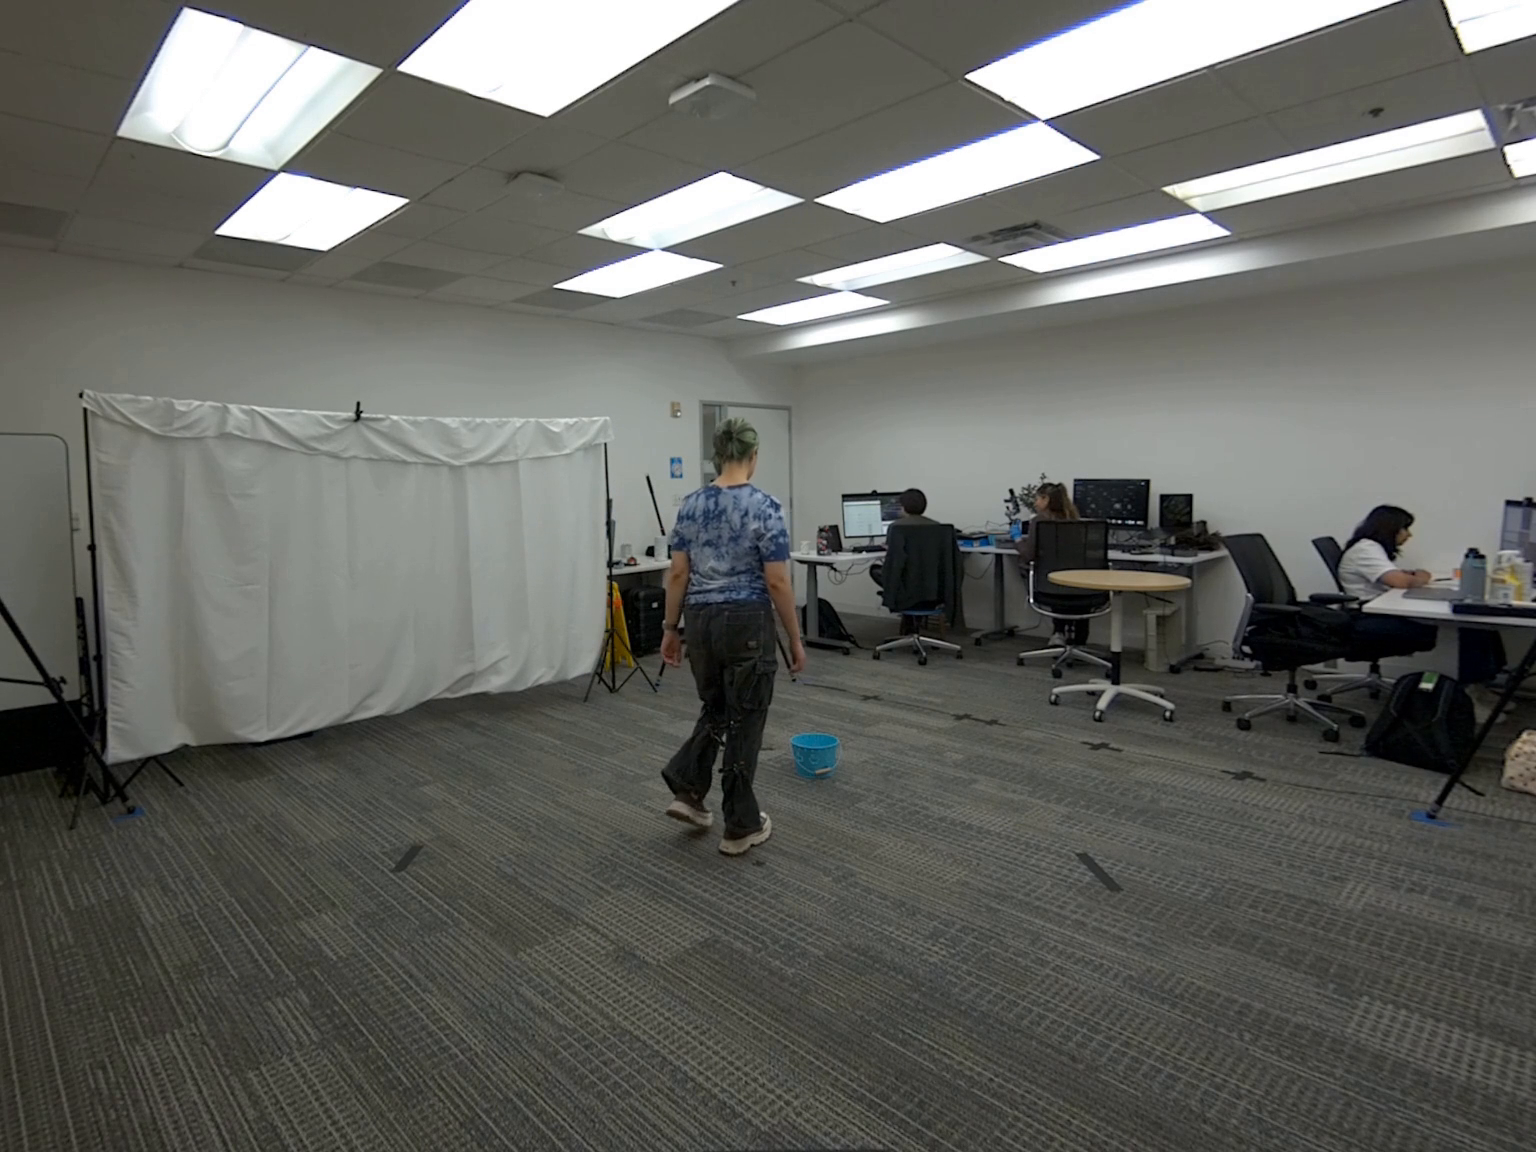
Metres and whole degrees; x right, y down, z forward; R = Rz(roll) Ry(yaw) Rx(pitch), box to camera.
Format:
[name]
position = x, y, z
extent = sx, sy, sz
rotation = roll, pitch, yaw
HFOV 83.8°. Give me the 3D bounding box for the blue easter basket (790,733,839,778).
[blue easter basket]
position = 0.220, 0.858, 4.079
extent = 0.243, 0.155, 0.245
rotation = -1, 5, -2
